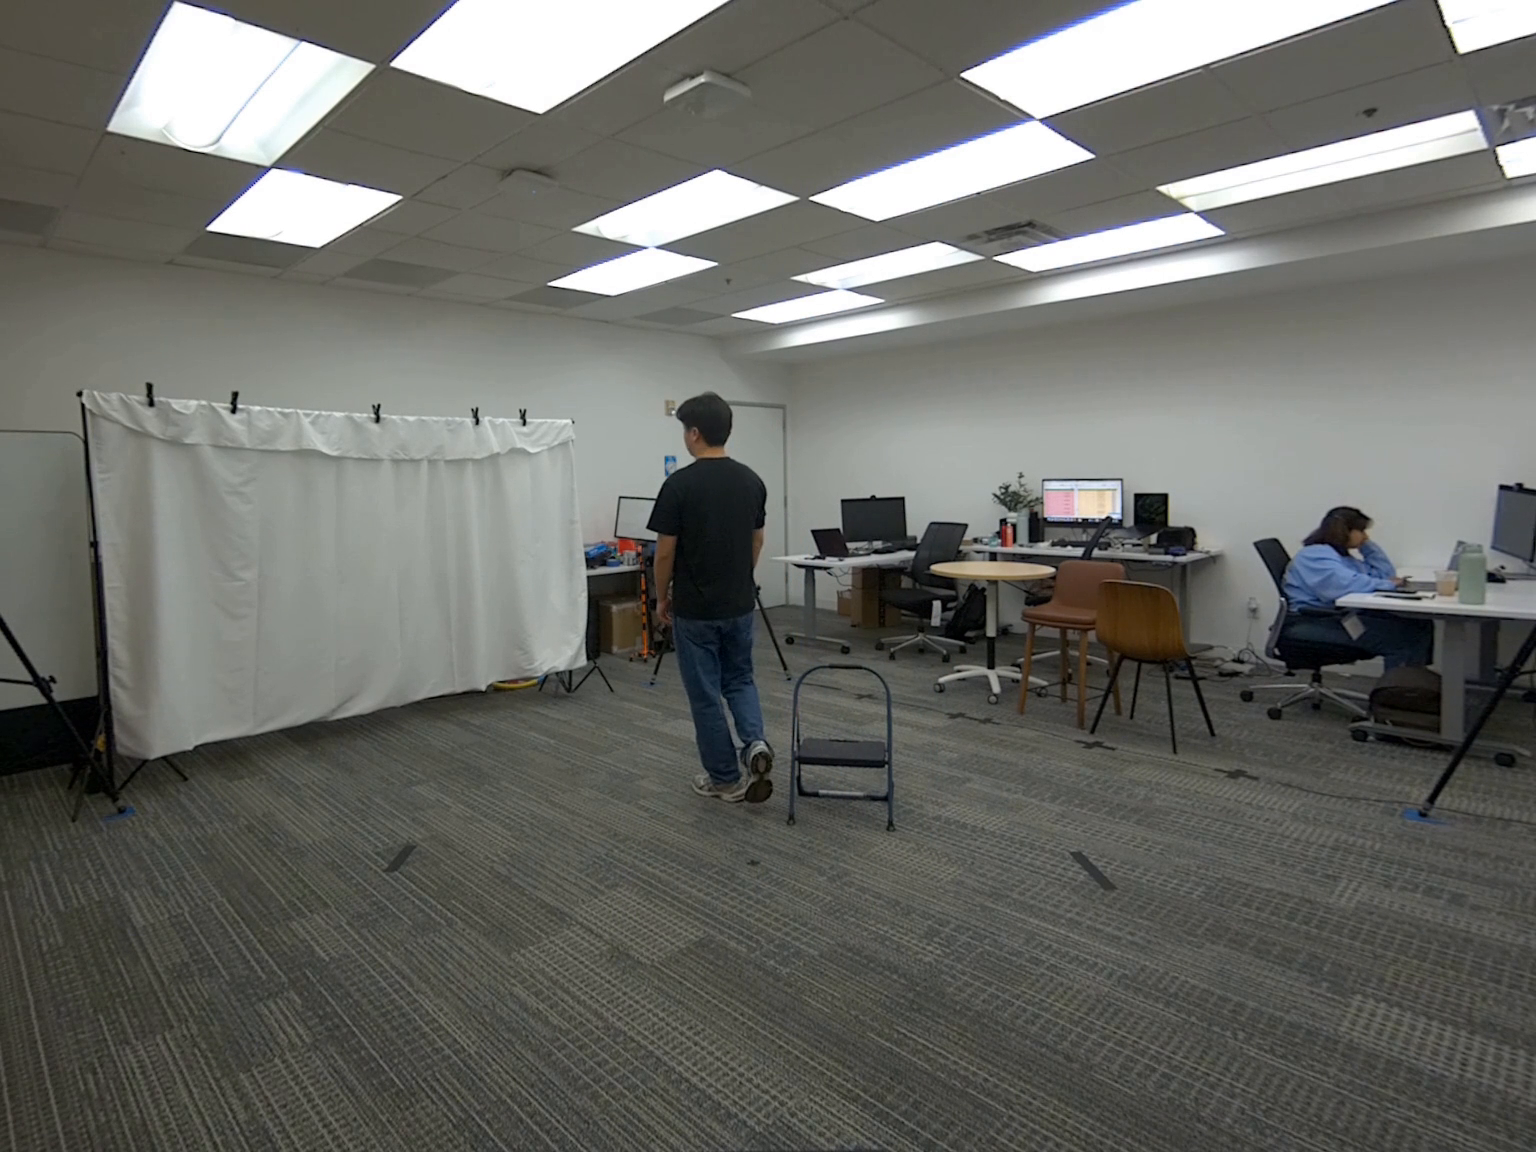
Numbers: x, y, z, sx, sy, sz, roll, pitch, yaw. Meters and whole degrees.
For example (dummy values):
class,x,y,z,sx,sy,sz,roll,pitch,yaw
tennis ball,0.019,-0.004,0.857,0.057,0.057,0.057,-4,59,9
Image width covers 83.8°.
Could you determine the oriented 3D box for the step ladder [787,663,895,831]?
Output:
class,x,y,z,sx,sy,sz,roll,pitch,yaw
step ladder,0.314,0.684,3.550,0.435,0.604,0.347,0,5,9
